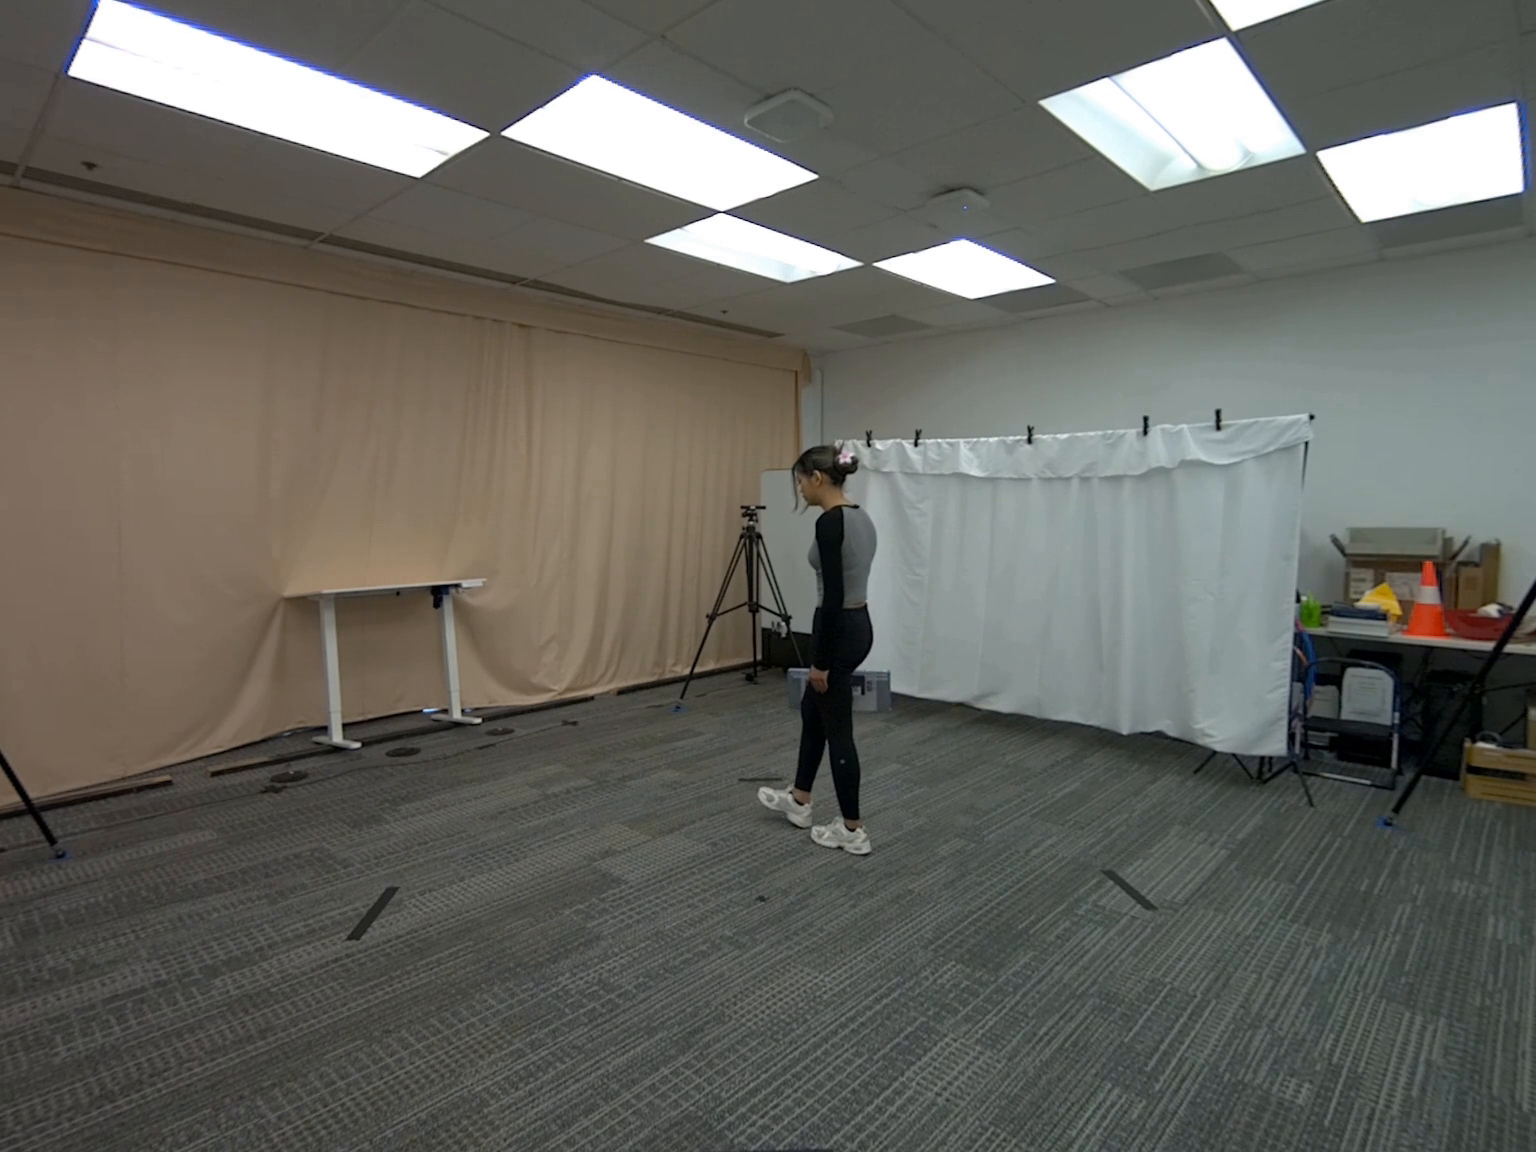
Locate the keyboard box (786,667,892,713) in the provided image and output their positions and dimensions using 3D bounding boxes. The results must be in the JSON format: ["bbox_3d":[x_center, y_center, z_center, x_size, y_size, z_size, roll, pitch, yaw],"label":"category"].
[{"bbox_3d":[0.310,0.491,3.651,0.441,0.176,0.058,1,3,9],"label":"keyboard box"}]
